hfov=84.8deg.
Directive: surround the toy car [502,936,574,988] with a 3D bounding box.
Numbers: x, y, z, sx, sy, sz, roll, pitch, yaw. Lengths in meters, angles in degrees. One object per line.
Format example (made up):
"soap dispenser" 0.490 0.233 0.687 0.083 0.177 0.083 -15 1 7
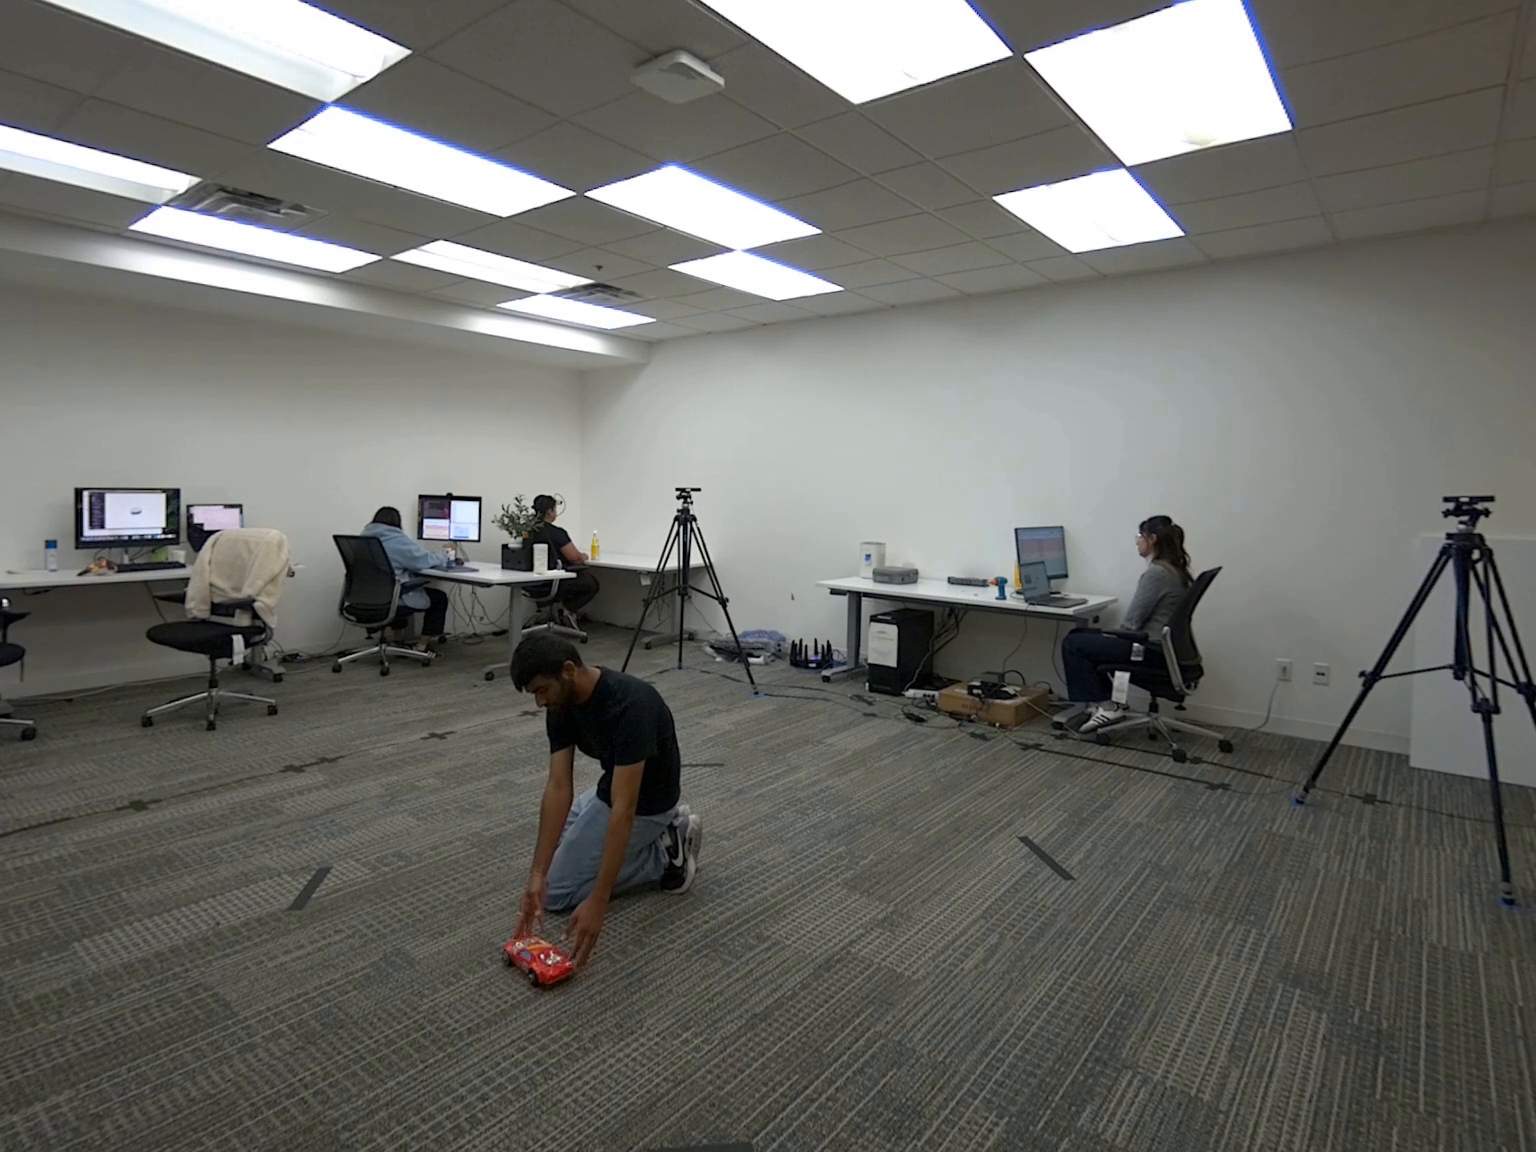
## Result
"toy car" -0.662 1.094 2.435 0.261 0.083 0.126 -8 -2 45
